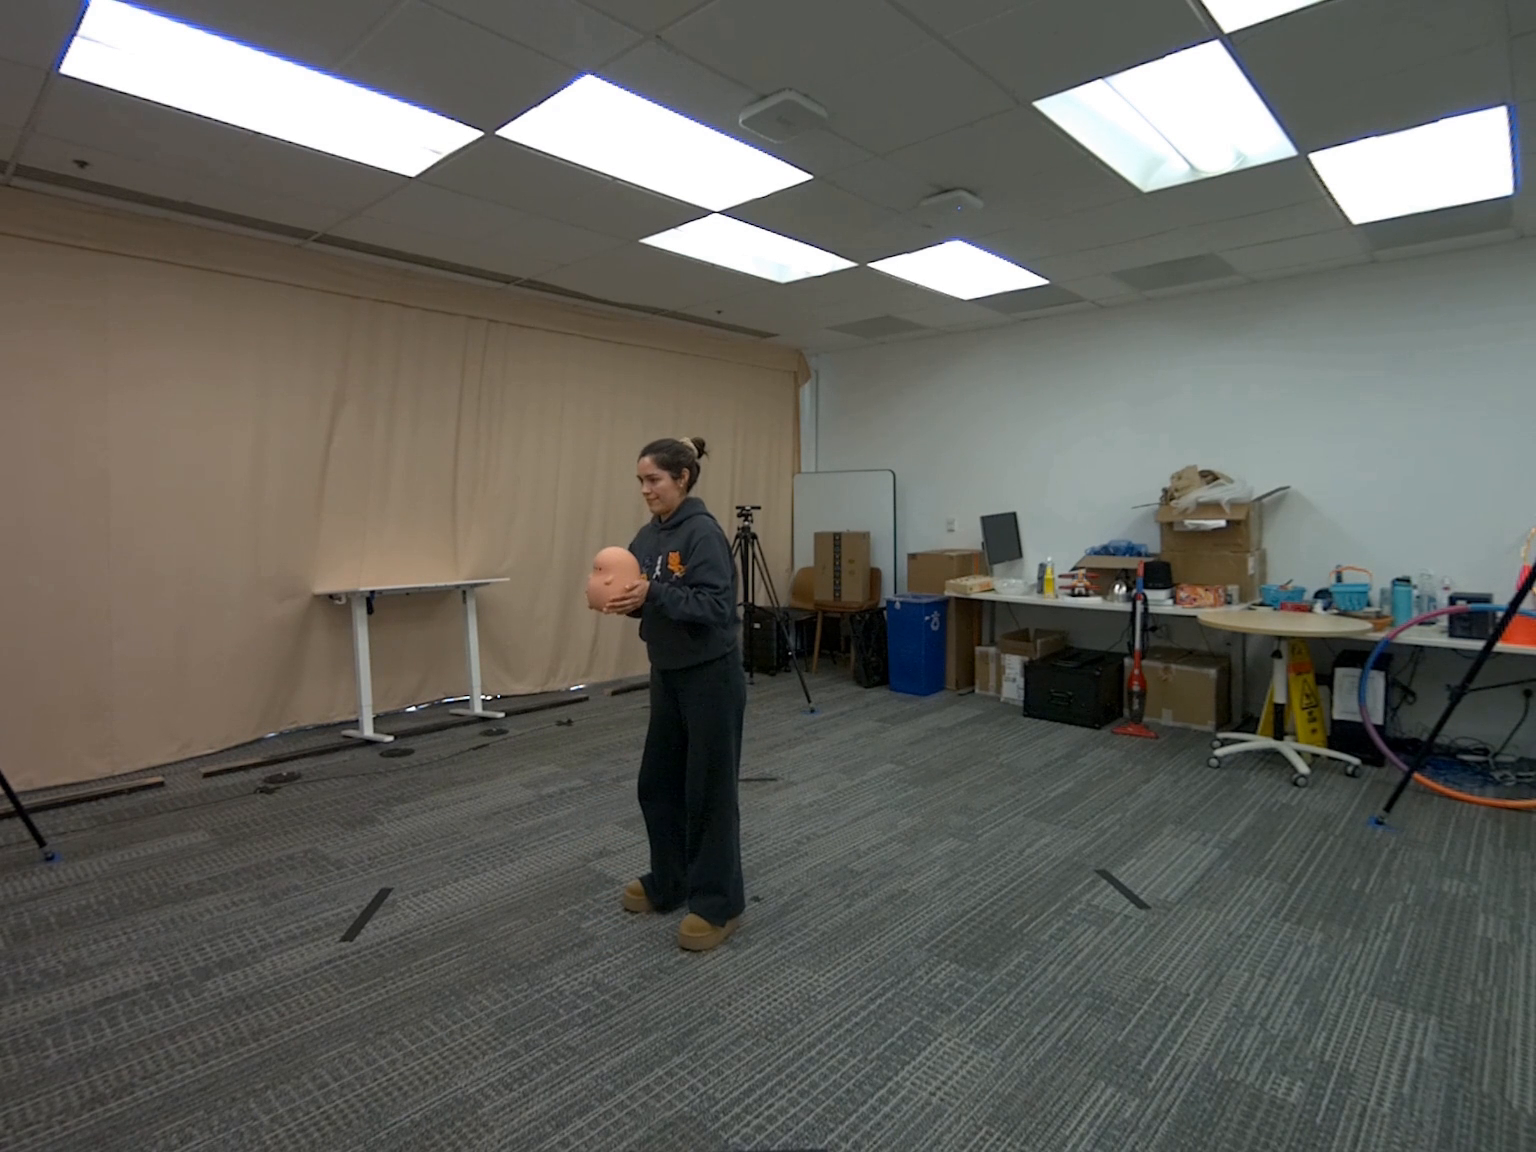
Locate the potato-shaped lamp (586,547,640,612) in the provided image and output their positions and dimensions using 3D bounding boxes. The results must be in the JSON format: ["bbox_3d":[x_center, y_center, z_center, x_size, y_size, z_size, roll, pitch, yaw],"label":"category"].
[{"bbox_3d":[-0.471,0.014,2.644,0.167,0.197,0.170,-10,12,-33],"label":"potato-shaped lamp"}]
